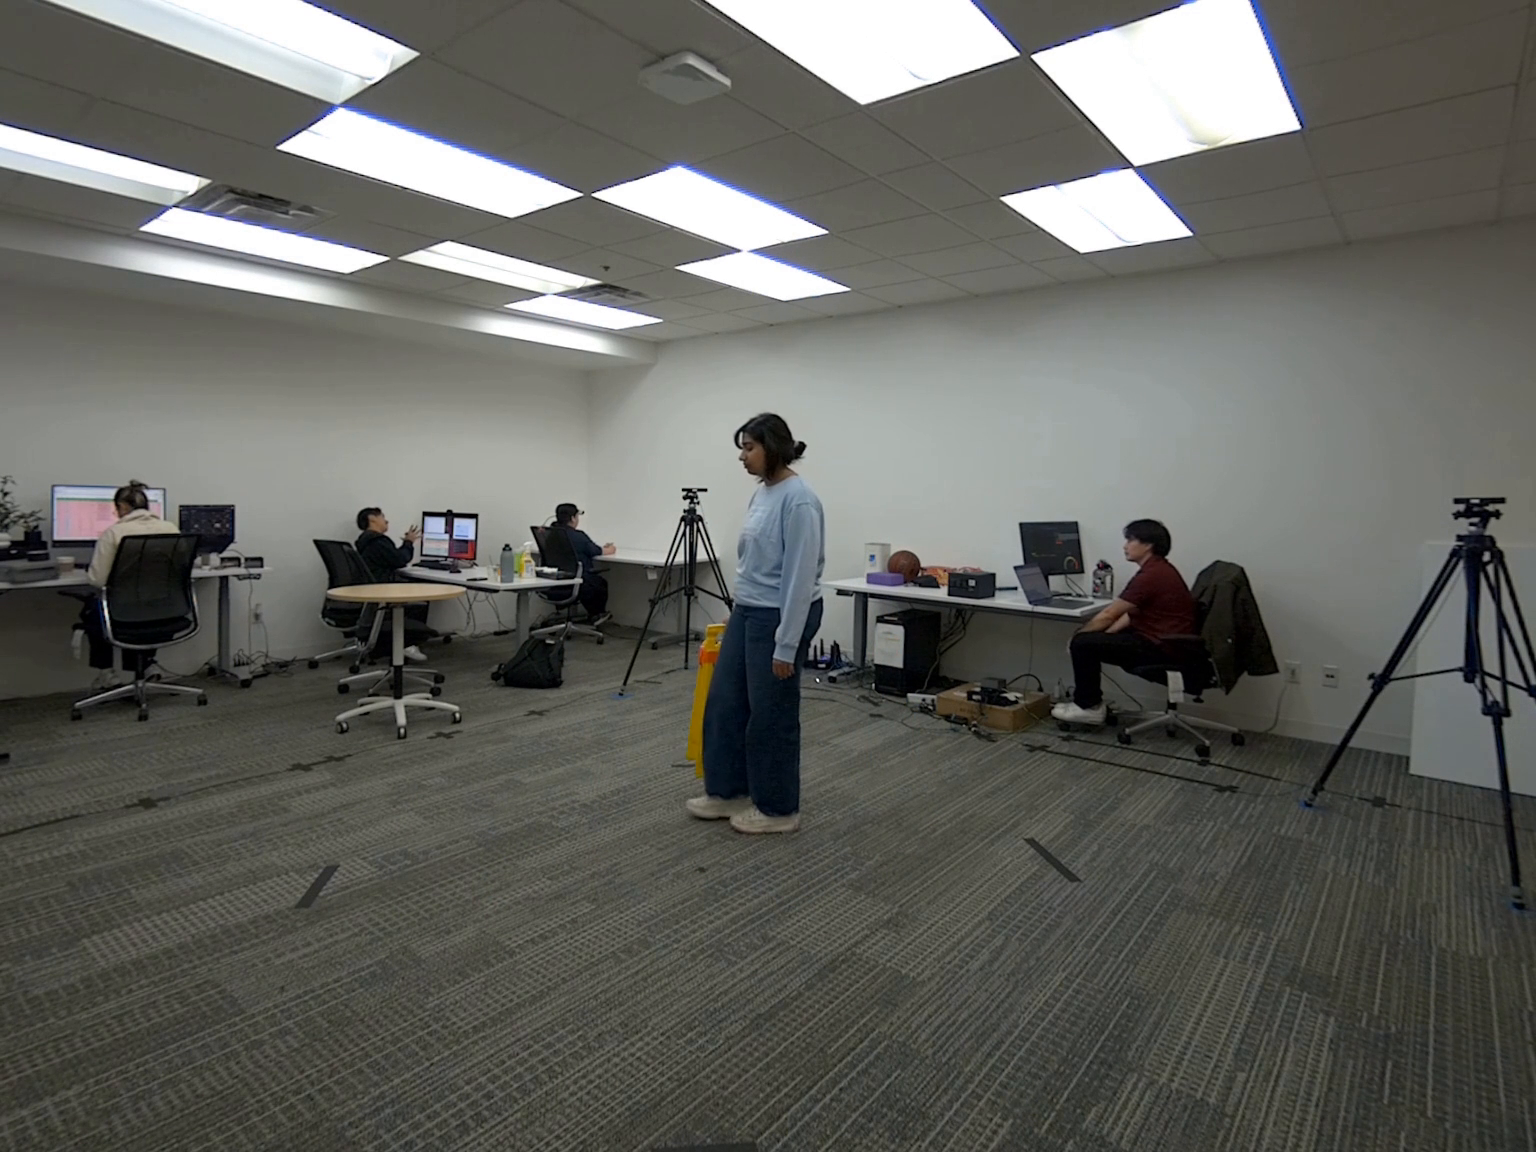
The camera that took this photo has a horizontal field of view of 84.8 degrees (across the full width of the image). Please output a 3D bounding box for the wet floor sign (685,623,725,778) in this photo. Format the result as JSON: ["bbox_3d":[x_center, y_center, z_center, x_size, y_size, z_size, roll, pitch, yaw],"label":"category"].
[{"bbox_3d":[-0.199,0.540,3.804,0.278,0.644,0.295,1,4,-14],"label":"wet floor sign"}]
